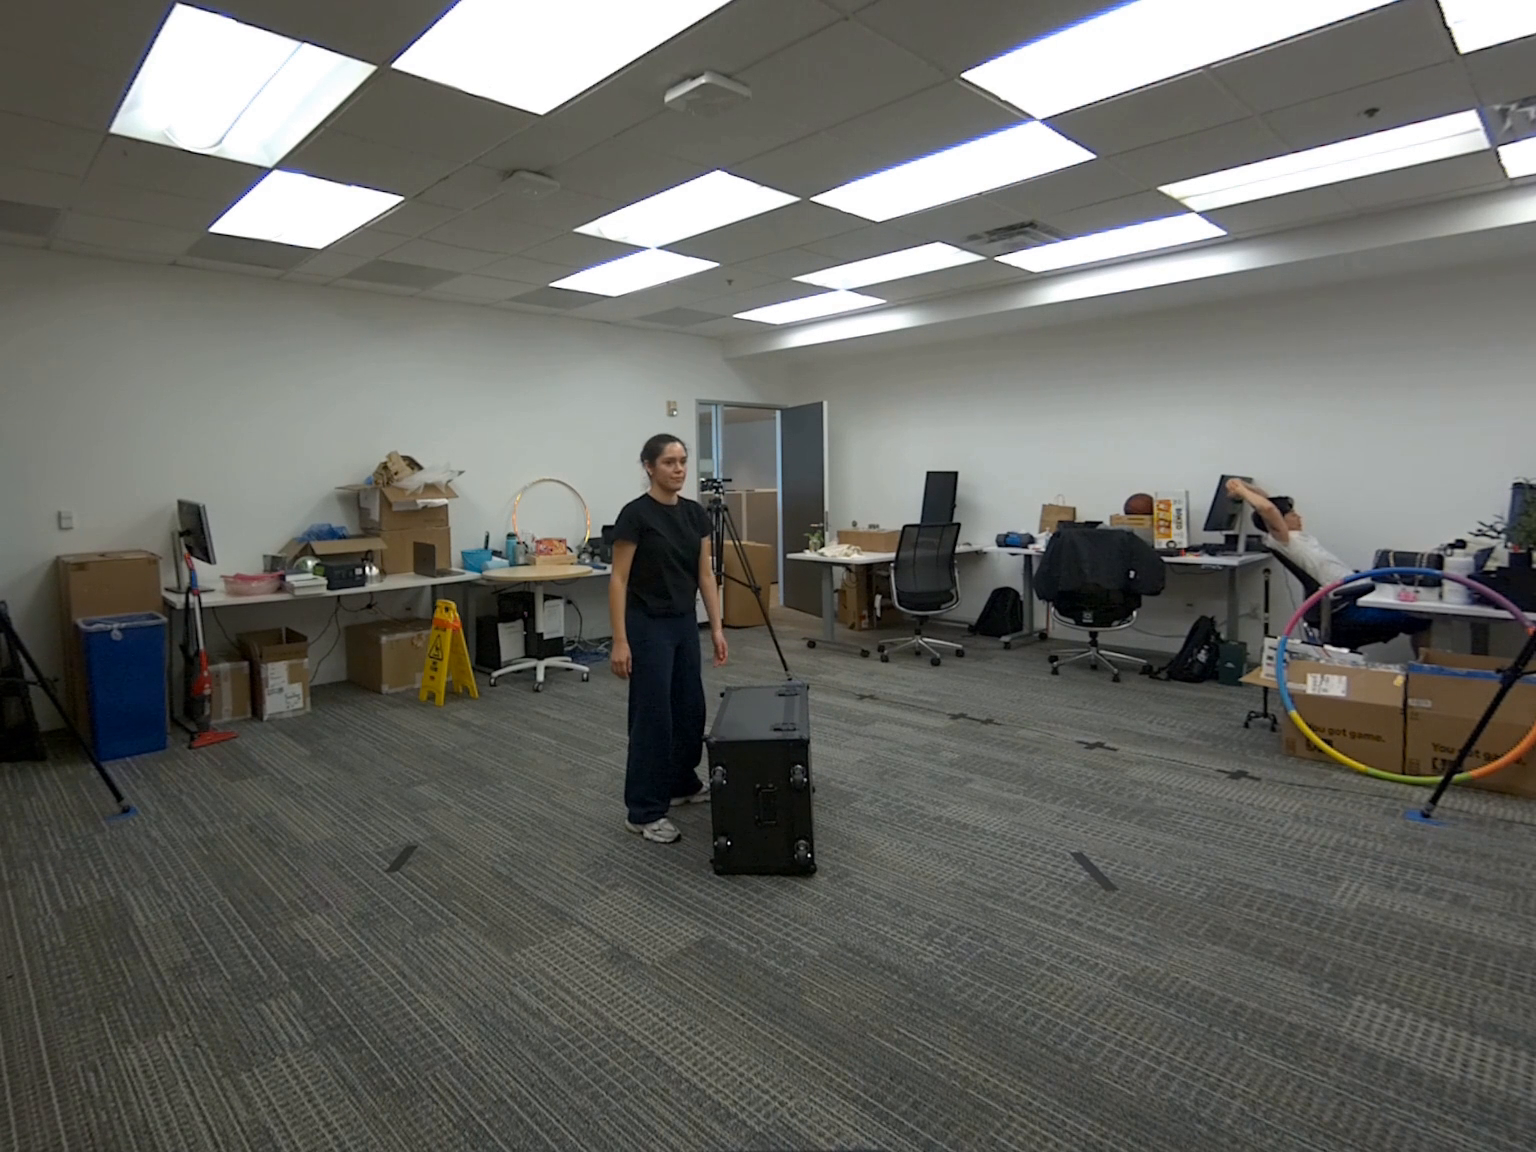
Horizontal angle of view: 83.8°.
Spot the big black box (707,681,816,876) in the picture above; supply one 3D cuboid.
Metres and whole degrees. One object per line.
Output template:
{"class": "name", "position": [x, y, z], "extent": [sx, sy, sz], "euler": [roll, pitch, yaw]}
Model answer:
{"class": "big black box", "position": [-0.031, 0.756, 3.354], "extent": [0.397, 0.519, 0.864], "euler": [-2, 6, 1]}
